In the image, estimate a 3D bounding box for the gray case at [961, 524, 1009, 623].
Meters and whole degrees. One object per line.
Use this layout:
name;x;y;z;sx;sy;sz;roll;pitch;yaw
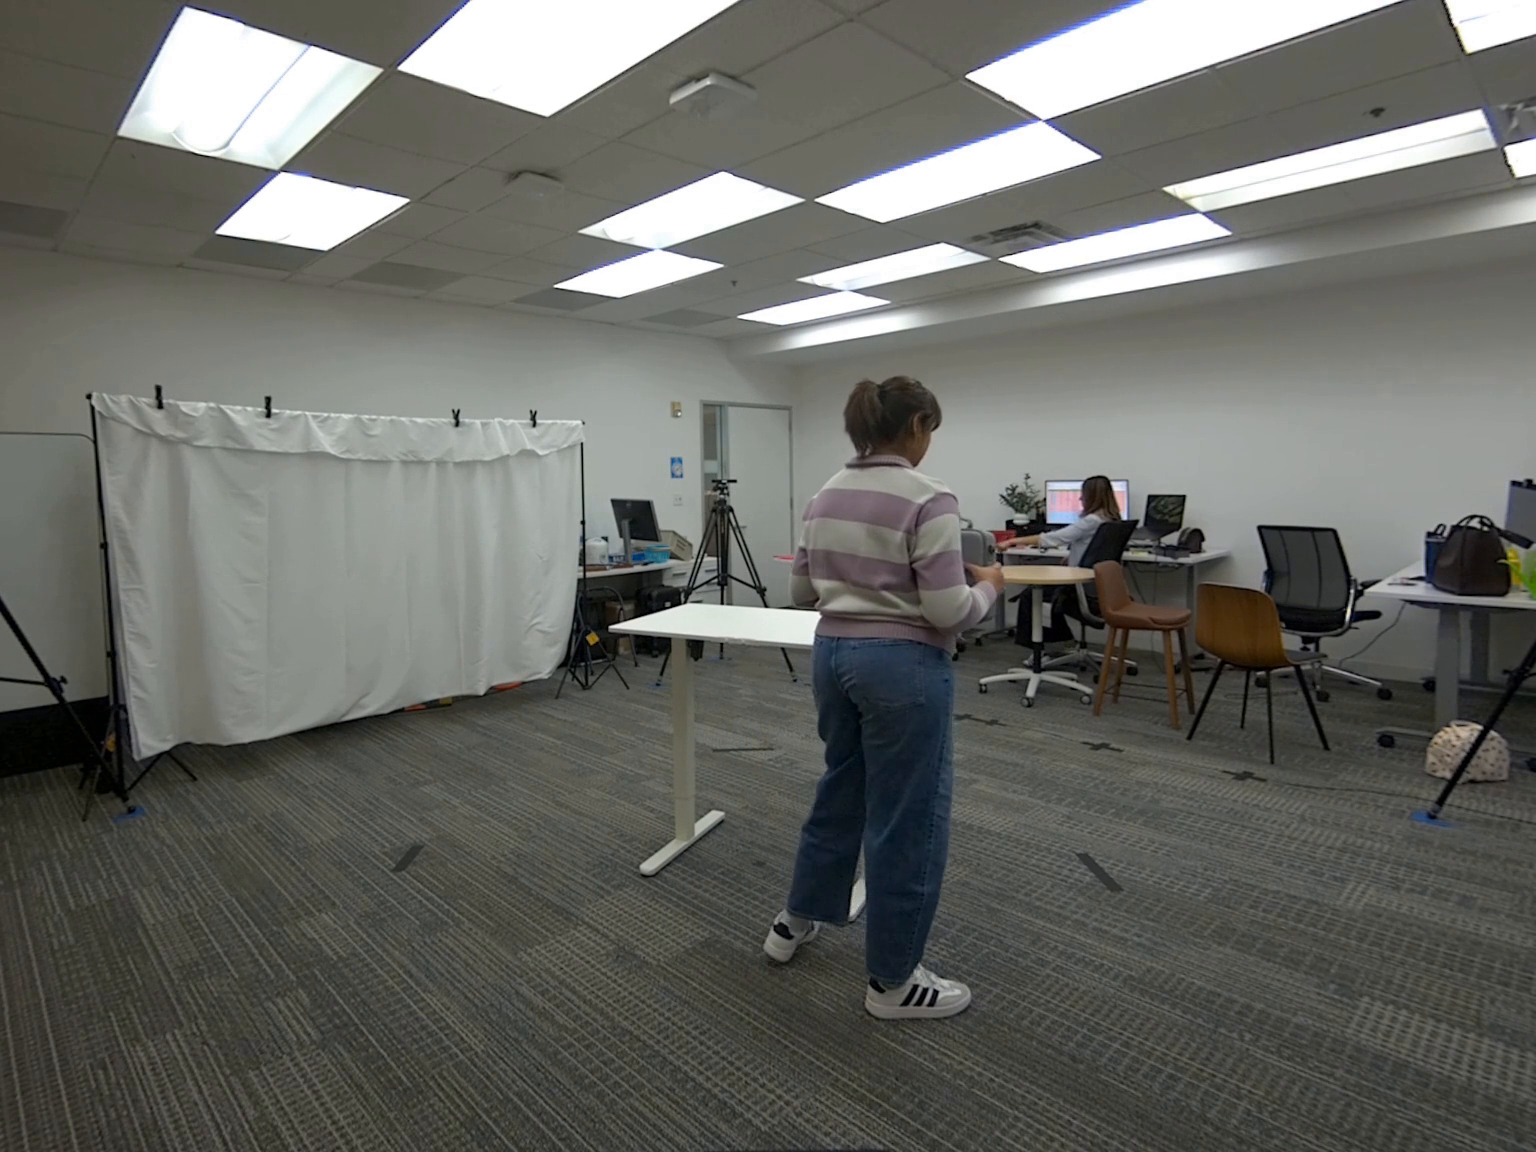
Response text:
gray case;0.525;-0.009;2.397;0.264;0.261;0.101;-1;-2;43
